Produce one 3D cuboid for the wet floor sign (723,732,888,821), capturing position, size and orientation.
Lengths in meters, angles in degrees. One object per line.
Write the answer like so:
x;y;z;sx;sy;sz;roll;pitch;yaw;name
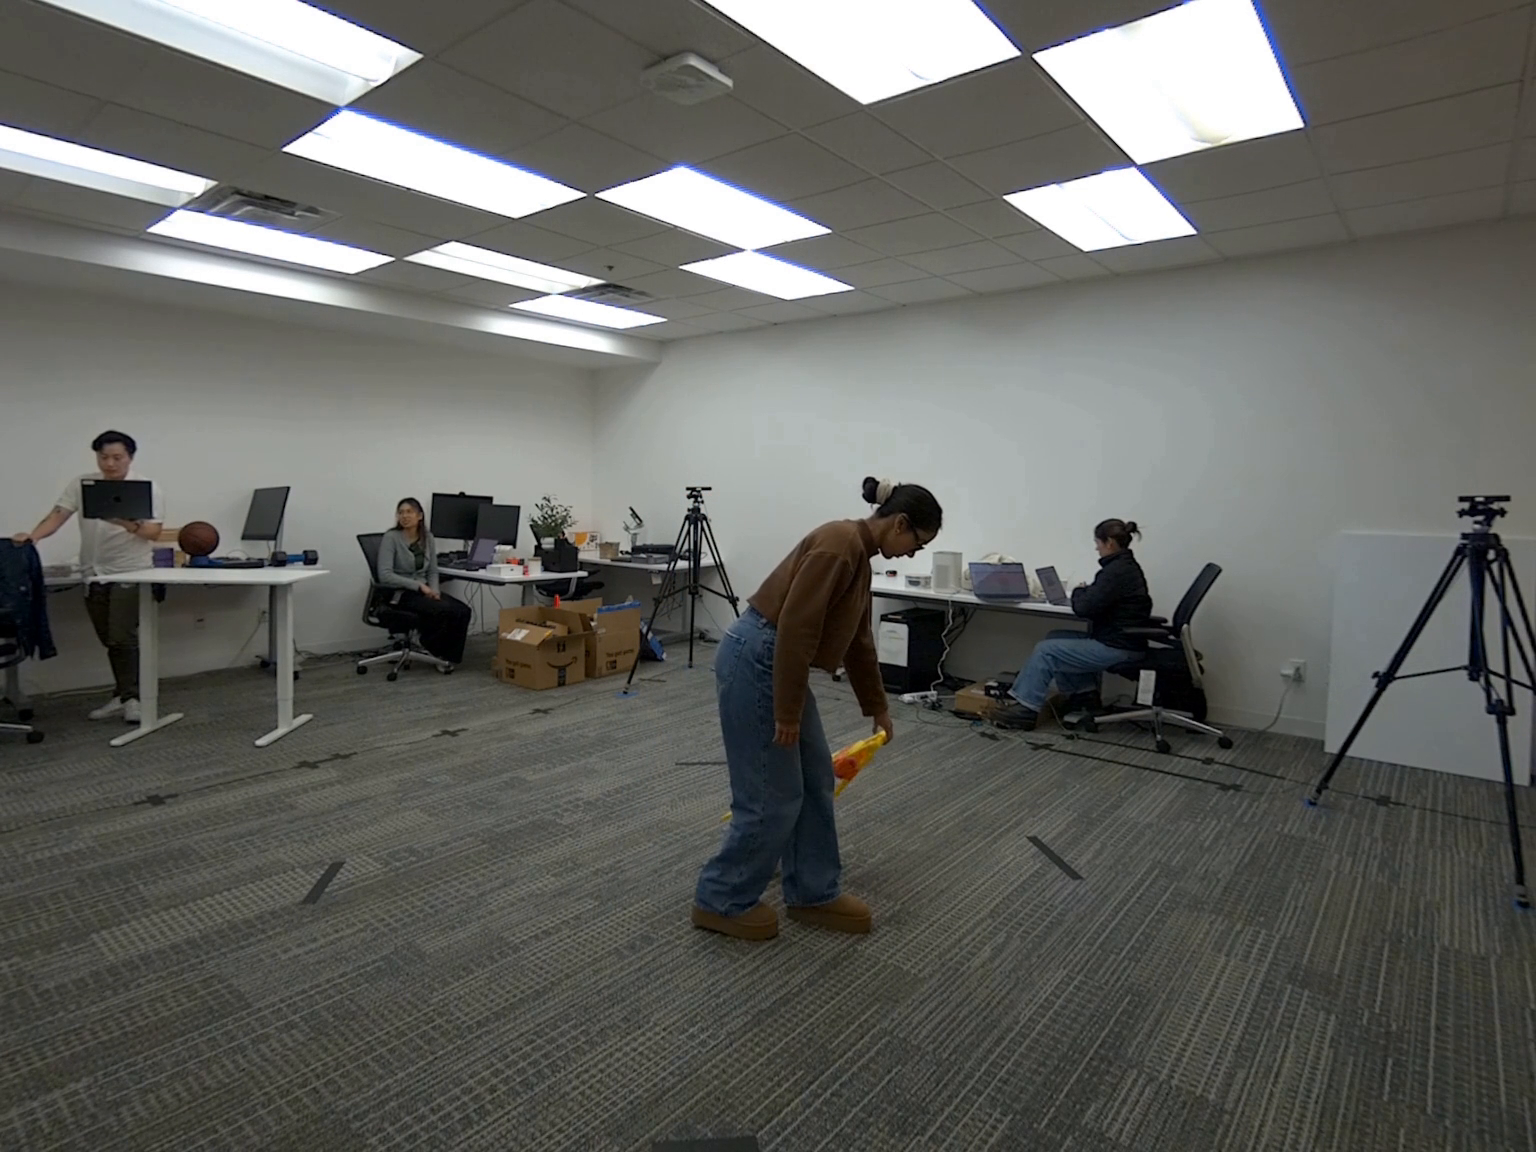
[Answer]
0.168;0.767;3.095;0.647;0.295;0.277;-42;-12;19;wet floor sign
